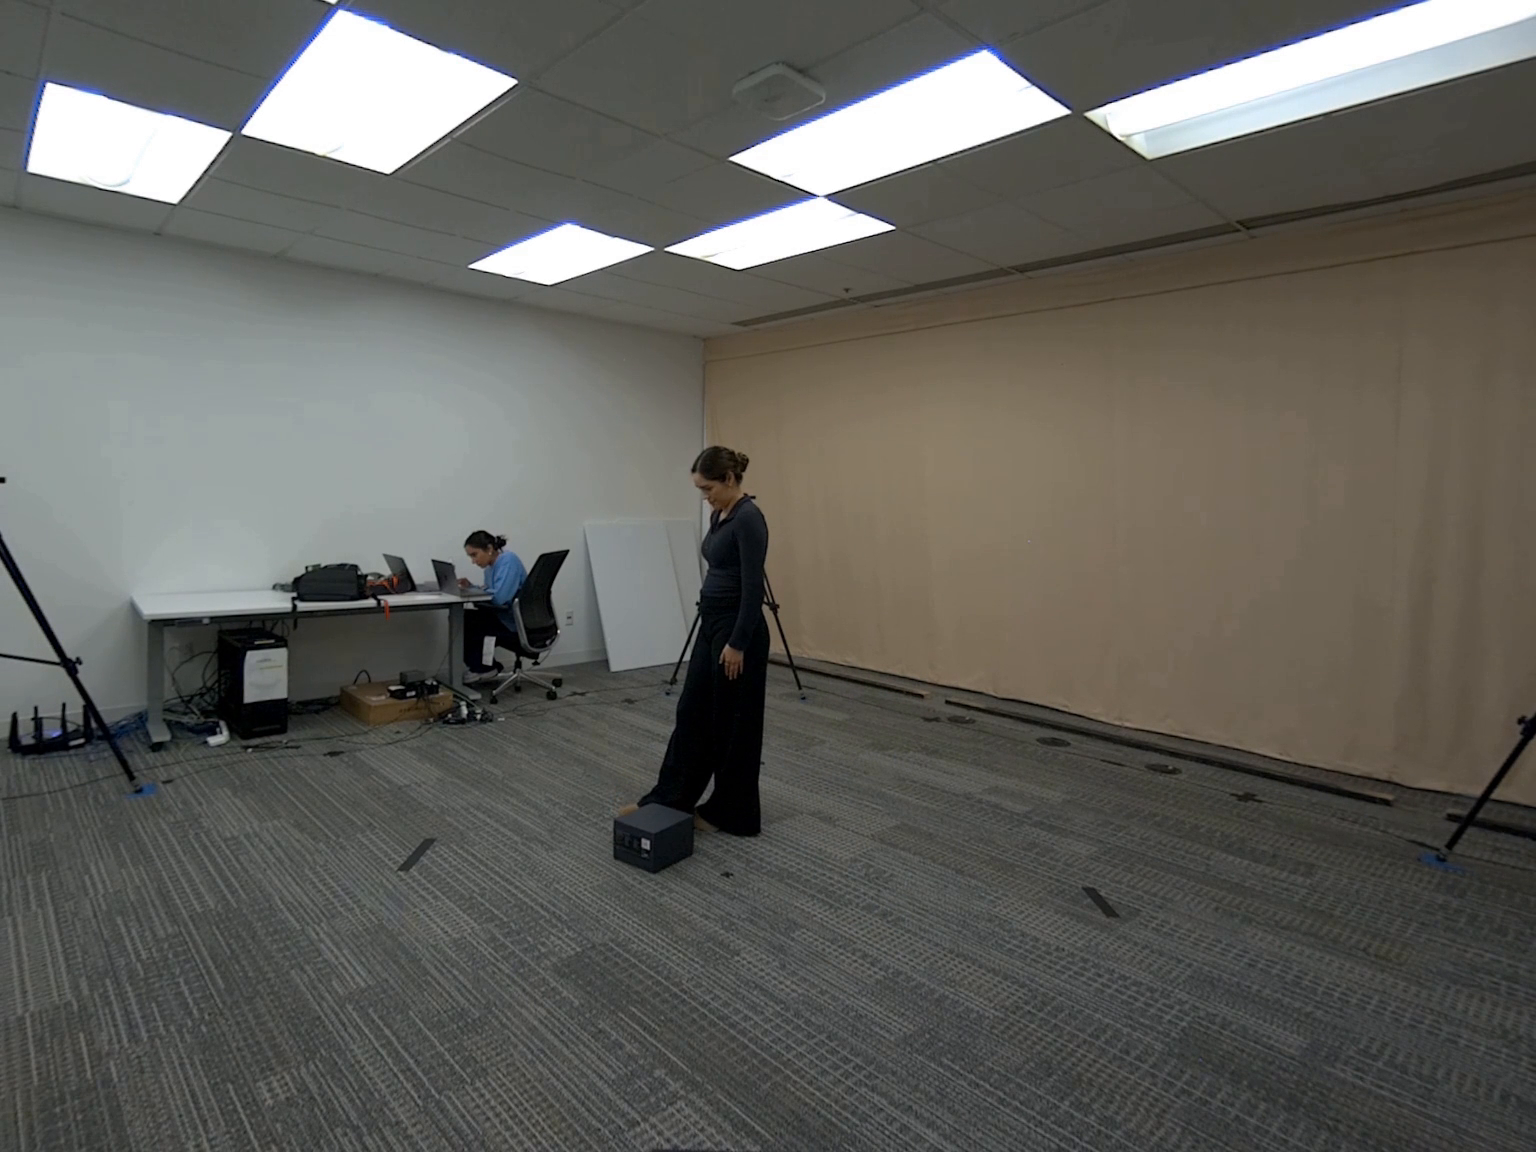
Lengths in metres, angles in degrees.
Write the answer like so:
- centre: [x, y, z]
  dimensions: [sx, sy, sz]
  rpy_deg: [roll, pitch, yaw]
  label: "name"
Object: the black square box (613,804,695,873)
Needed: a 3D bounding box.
- centre: [-0.453, 1.003, 3.236]
  dimensions: [0.222, 0.155, 0.223]
  rpy_deg: [4, 6, 36]
  label: "black square box"
